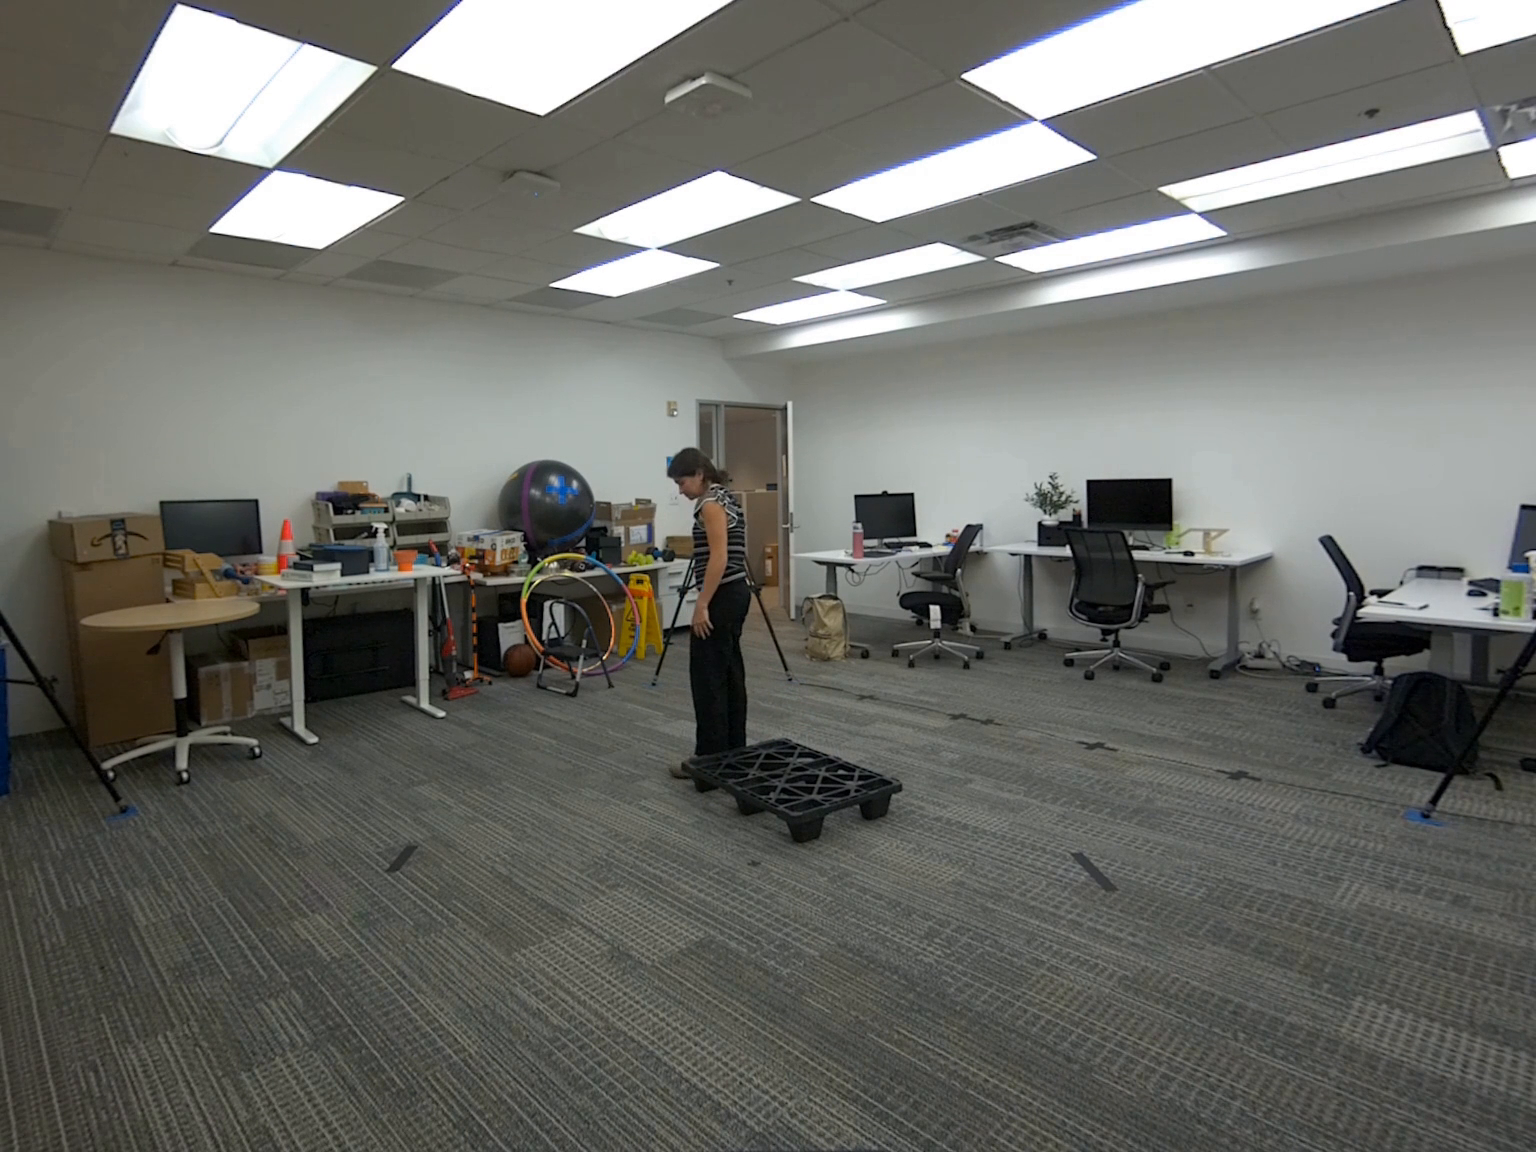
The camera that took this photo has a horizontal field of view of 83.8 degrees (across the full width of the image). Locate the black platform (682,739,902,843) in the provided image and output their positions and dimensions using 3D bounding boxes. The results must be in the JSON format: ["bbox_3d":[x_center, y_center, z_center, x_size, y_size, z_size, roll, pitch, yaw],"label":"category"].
[{"bbox_3d":[0.086,0.911,3.696,0.589,0.143,0.830,-5,7,-37],"label":"black platform"}]
